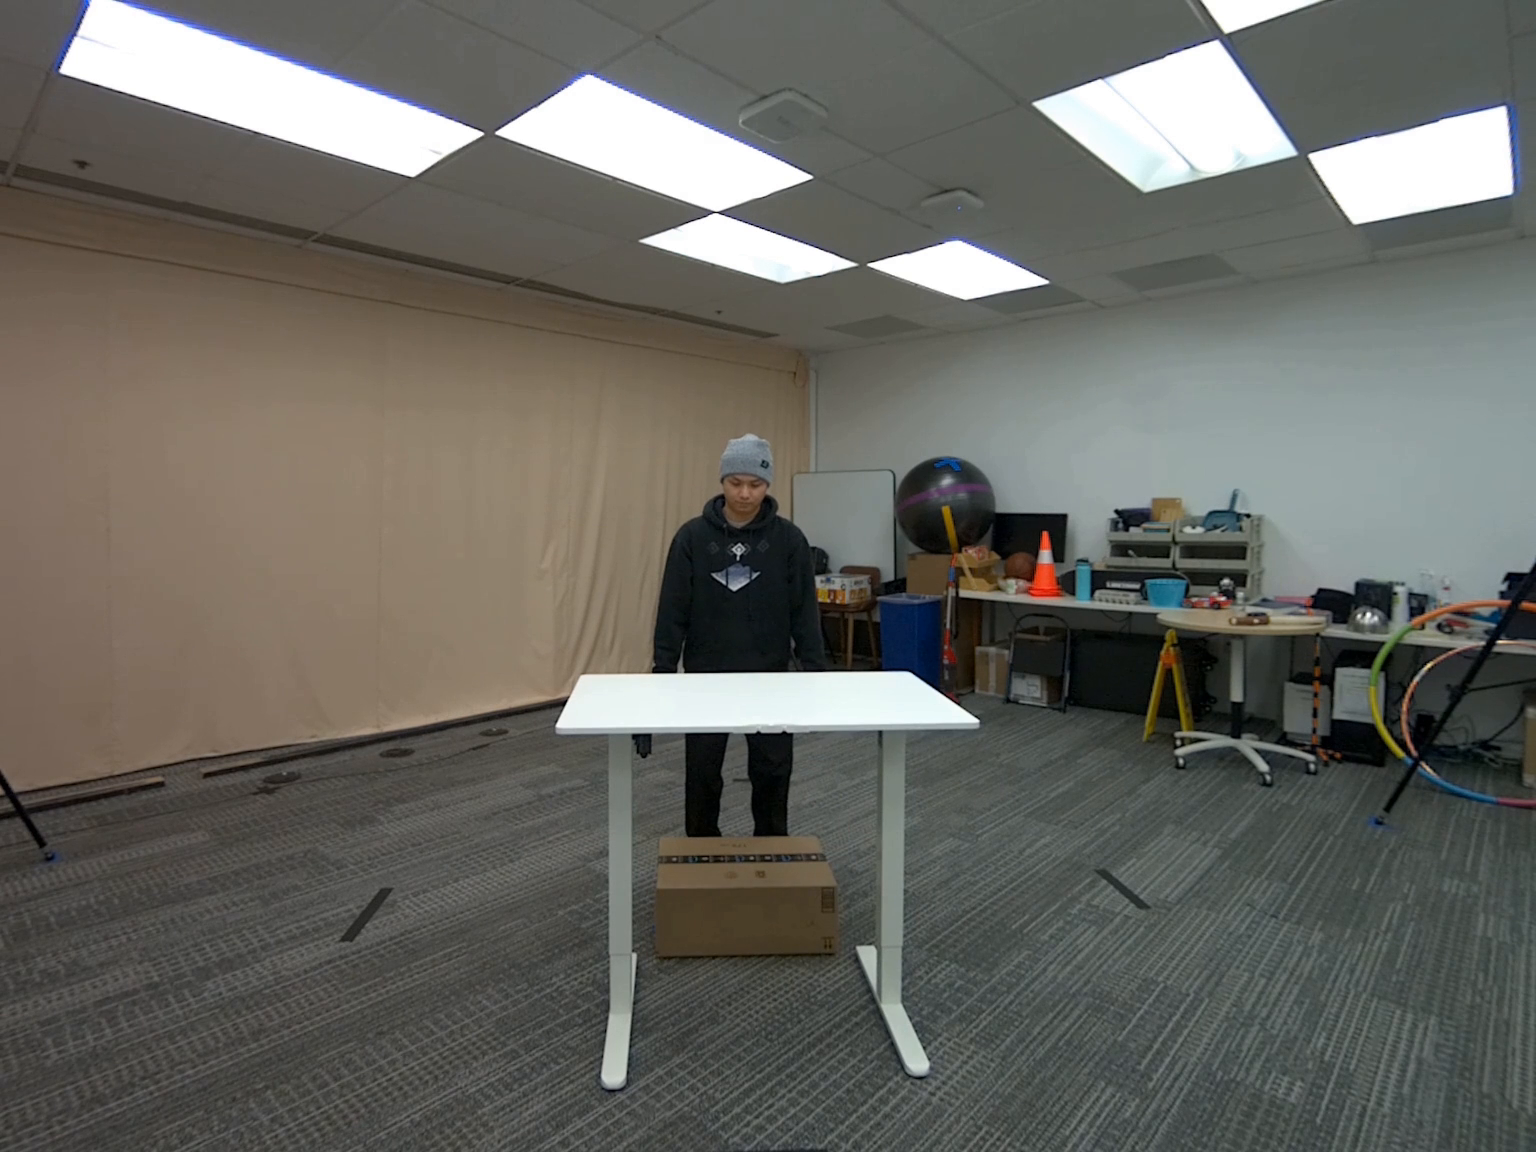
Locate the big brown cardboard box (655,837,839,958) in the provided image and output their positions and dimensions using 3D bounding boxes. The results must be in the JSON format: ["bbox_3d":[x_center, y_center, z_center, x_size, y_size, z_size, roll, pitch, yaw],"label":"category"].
[{"bbox_3d":[-0.088,1.047,2.796,0.588,0.232,0.420,-1,4,-3],"label":"big brown cardboard box"}]
